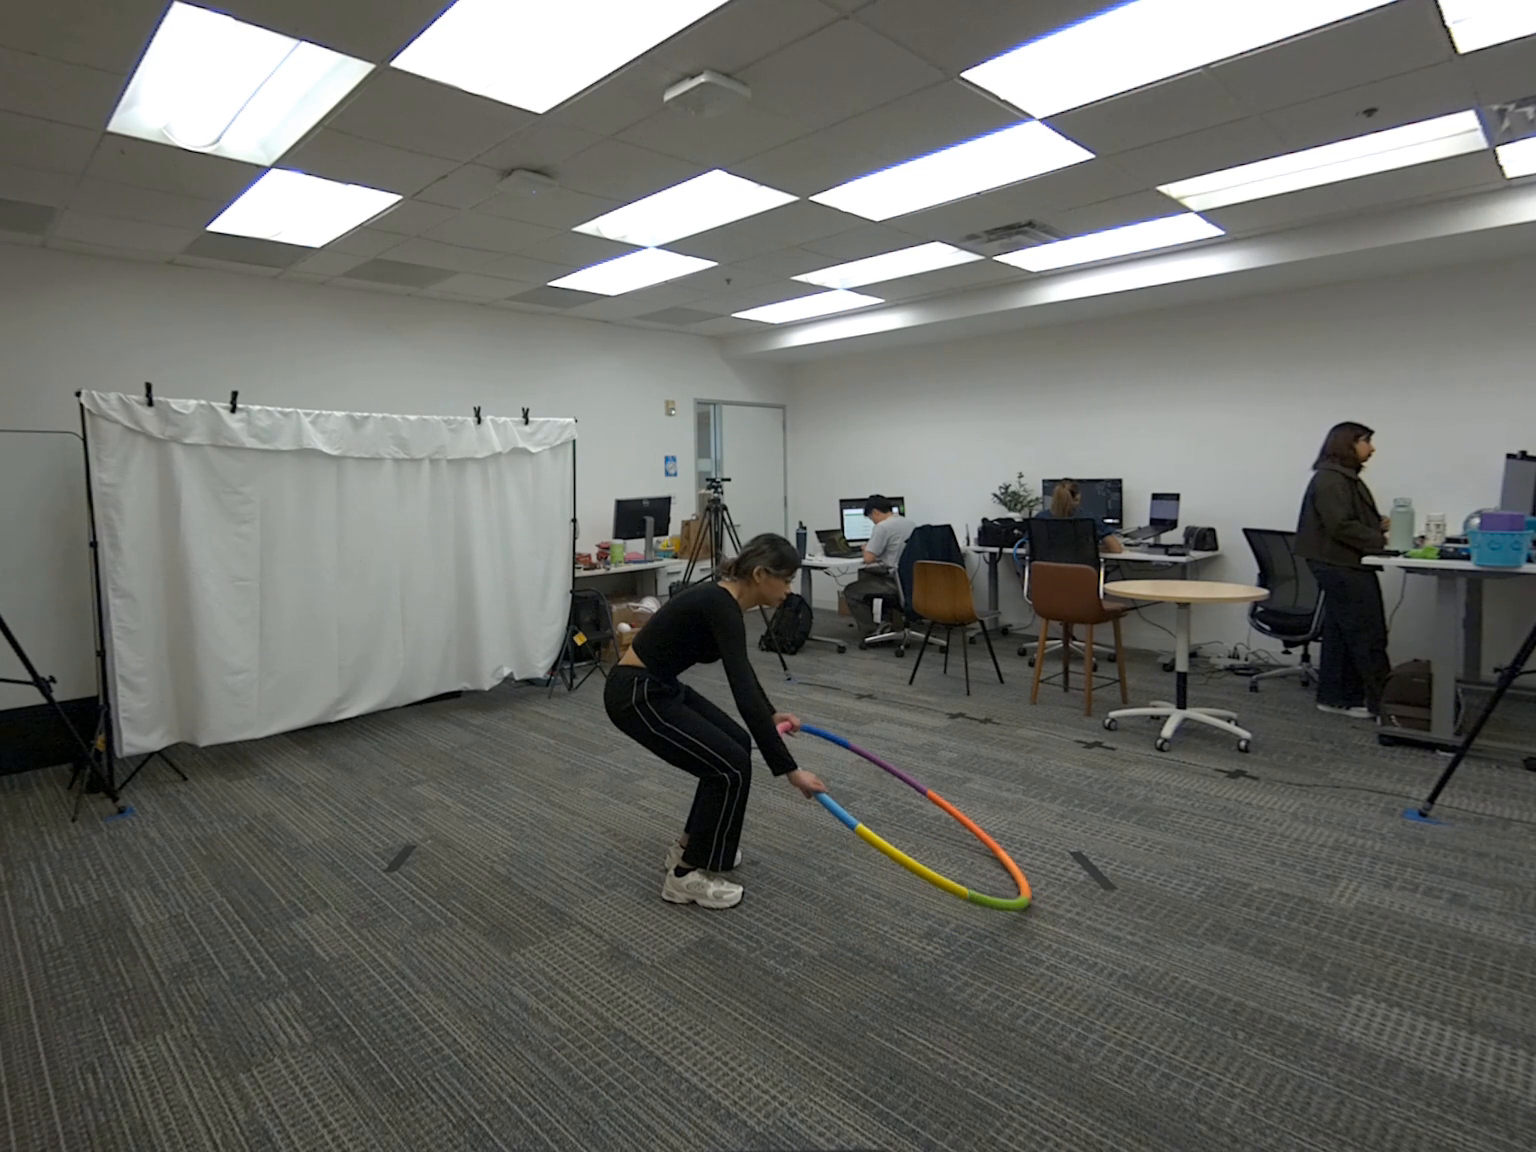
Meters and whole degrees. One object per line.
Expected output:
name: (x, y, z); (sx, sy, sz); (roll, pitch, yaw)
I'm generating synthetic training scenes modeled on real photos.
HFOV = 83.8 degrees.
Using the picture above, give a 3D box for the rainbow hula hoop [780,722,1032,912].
rainbow hula hoop: (0.439, 0.786, 2.945); (0.974, 0.035, 0.985); (29, 6, -5)
